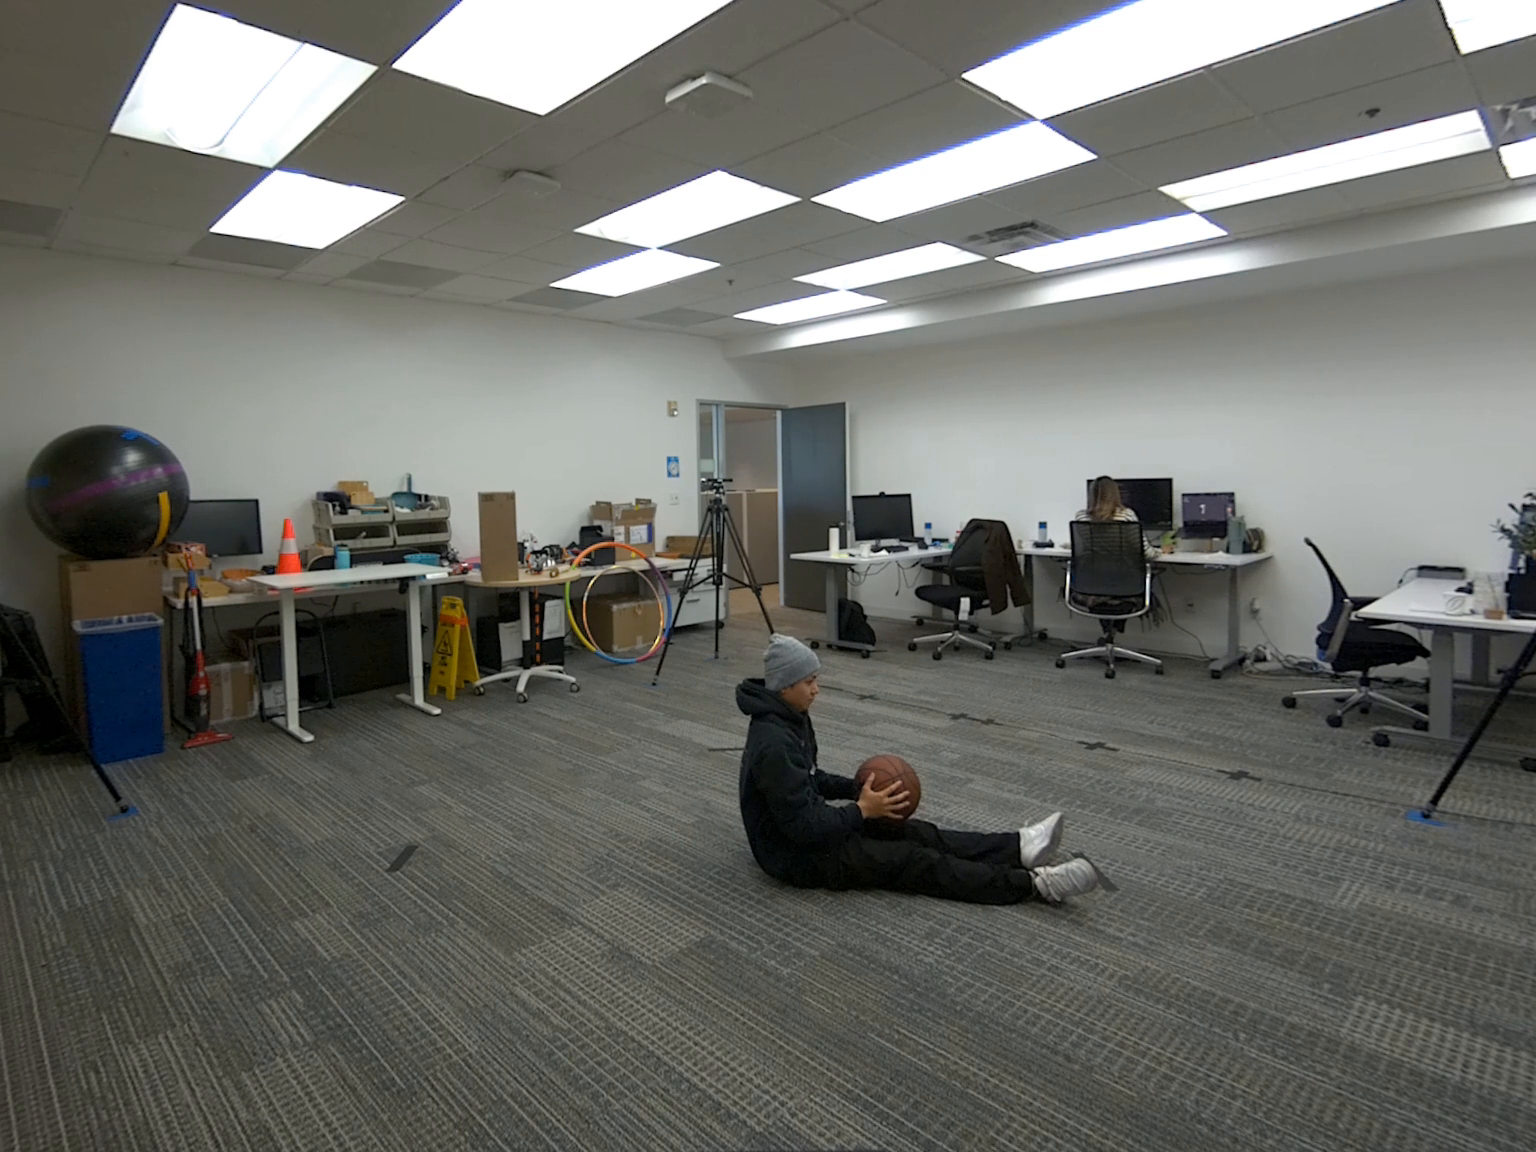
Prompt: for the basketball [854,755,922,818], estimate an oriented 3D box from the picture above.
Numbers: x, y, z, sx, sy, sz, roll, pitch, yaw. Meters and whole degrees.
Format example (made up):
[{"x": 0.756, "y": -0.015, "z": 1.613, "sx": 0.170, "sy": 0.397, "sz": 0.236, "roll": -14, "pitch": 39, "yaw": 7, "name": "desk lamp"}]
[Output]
[{"x": 0.416, "y": 0.751, "z": 3.024, "sx": 0.236, "sy": 0.235, "sz": 0.237, "roll": -1, "pitch": 5, "yaw": -2, "name": "basketball"}]
